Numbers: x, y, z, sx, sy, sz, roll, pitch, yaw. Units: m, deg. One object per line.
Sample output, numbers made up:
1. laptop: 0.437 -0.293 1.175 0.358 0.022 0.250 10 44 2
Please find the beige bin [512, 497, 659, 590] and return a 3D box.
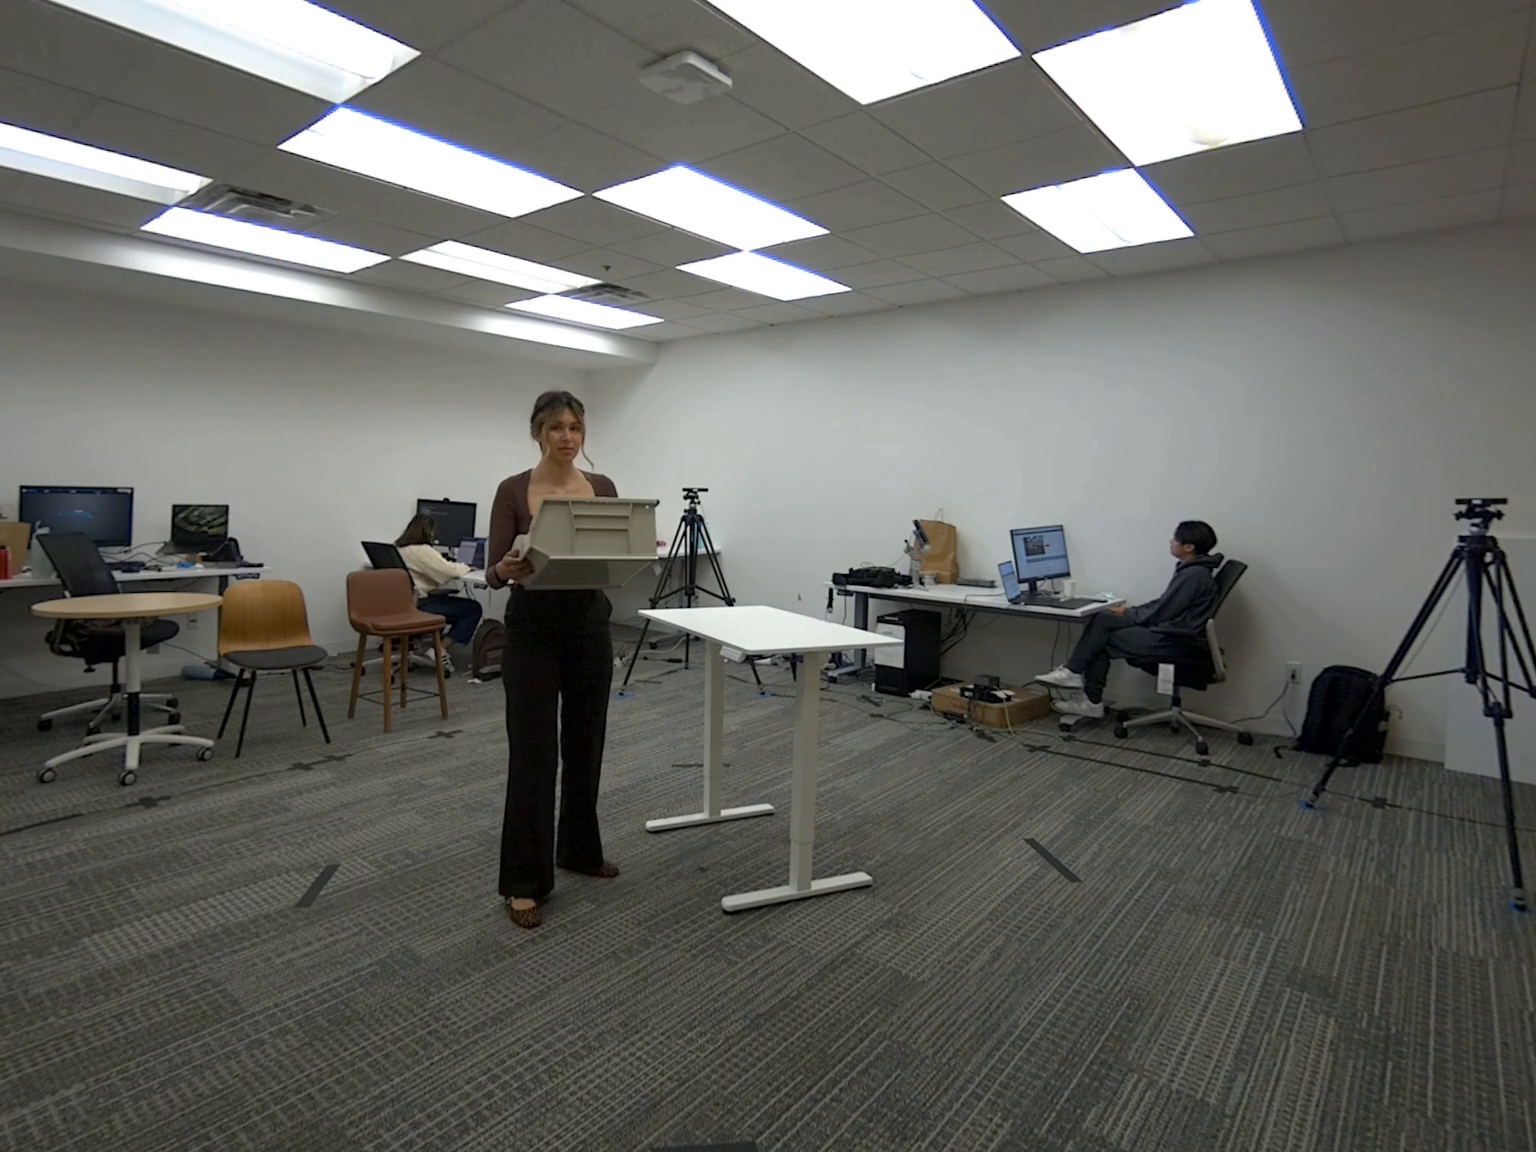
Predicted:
1. beige bin: -0.578 -0.092 2.563 0.369 0.192 0.426 1 -14 -23
